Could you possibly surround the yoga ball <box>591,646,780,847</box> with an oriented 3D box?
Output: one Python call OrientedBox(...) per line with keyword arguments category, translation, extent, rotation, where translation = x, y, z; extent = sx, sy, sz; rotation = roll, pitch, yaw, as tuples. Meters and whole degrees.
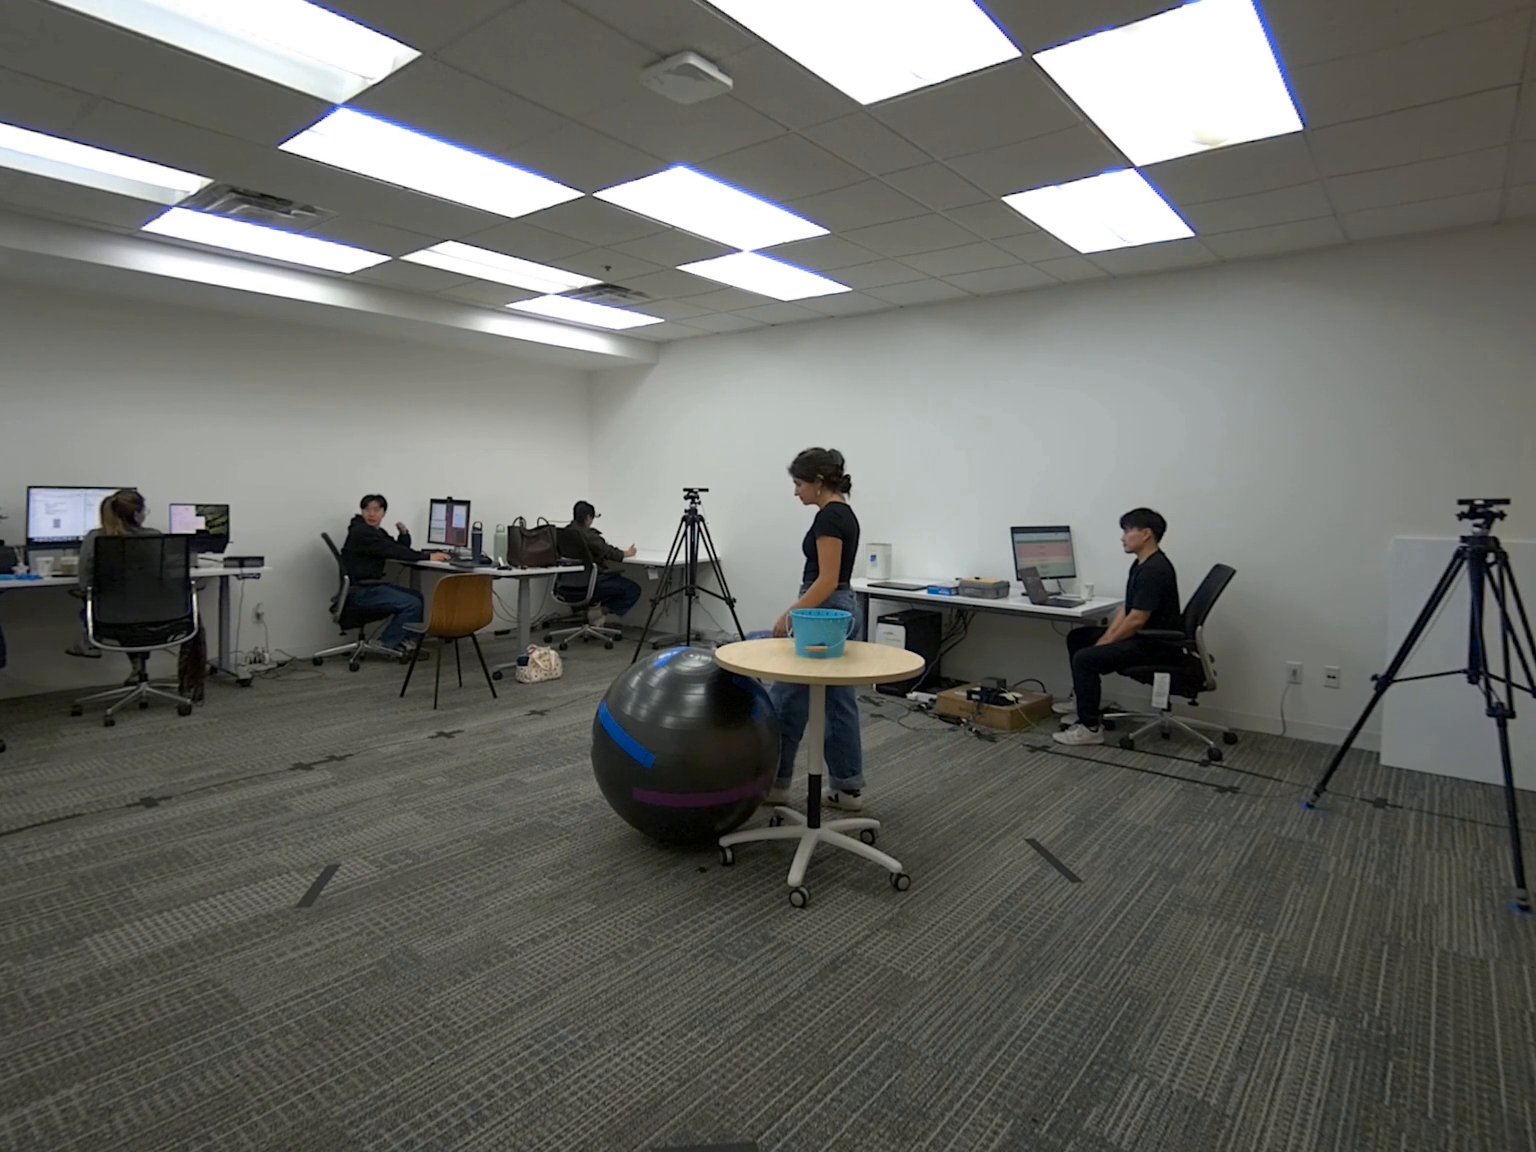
OrientedBox(category="yoga ball", translation=(-0.346, 0.673, 3.396), extent=(0.757, 0.756, 0.762), rotation=(1, 4, -2))
